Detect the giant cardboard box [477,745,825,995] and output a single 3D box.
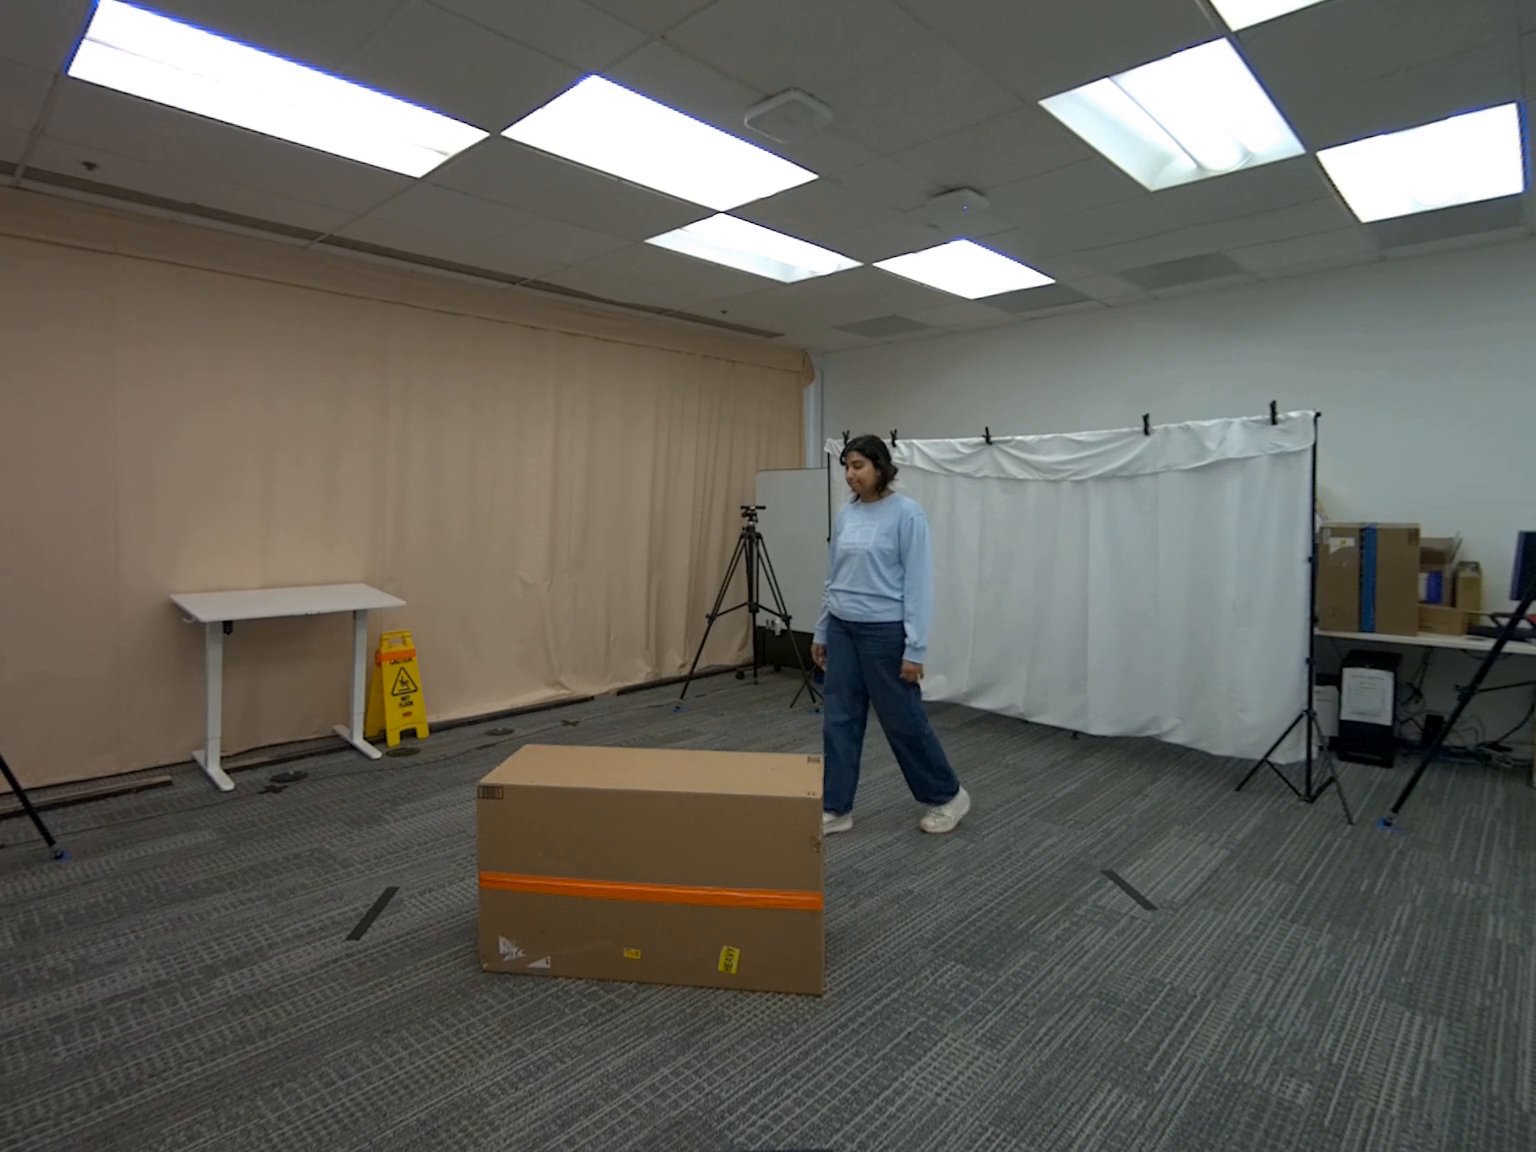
[{"bbox_3d":[-0.339,0.883,2.642,1.035,0.576,0.423,0,4,7],"label":"giant cardboard box"}]
